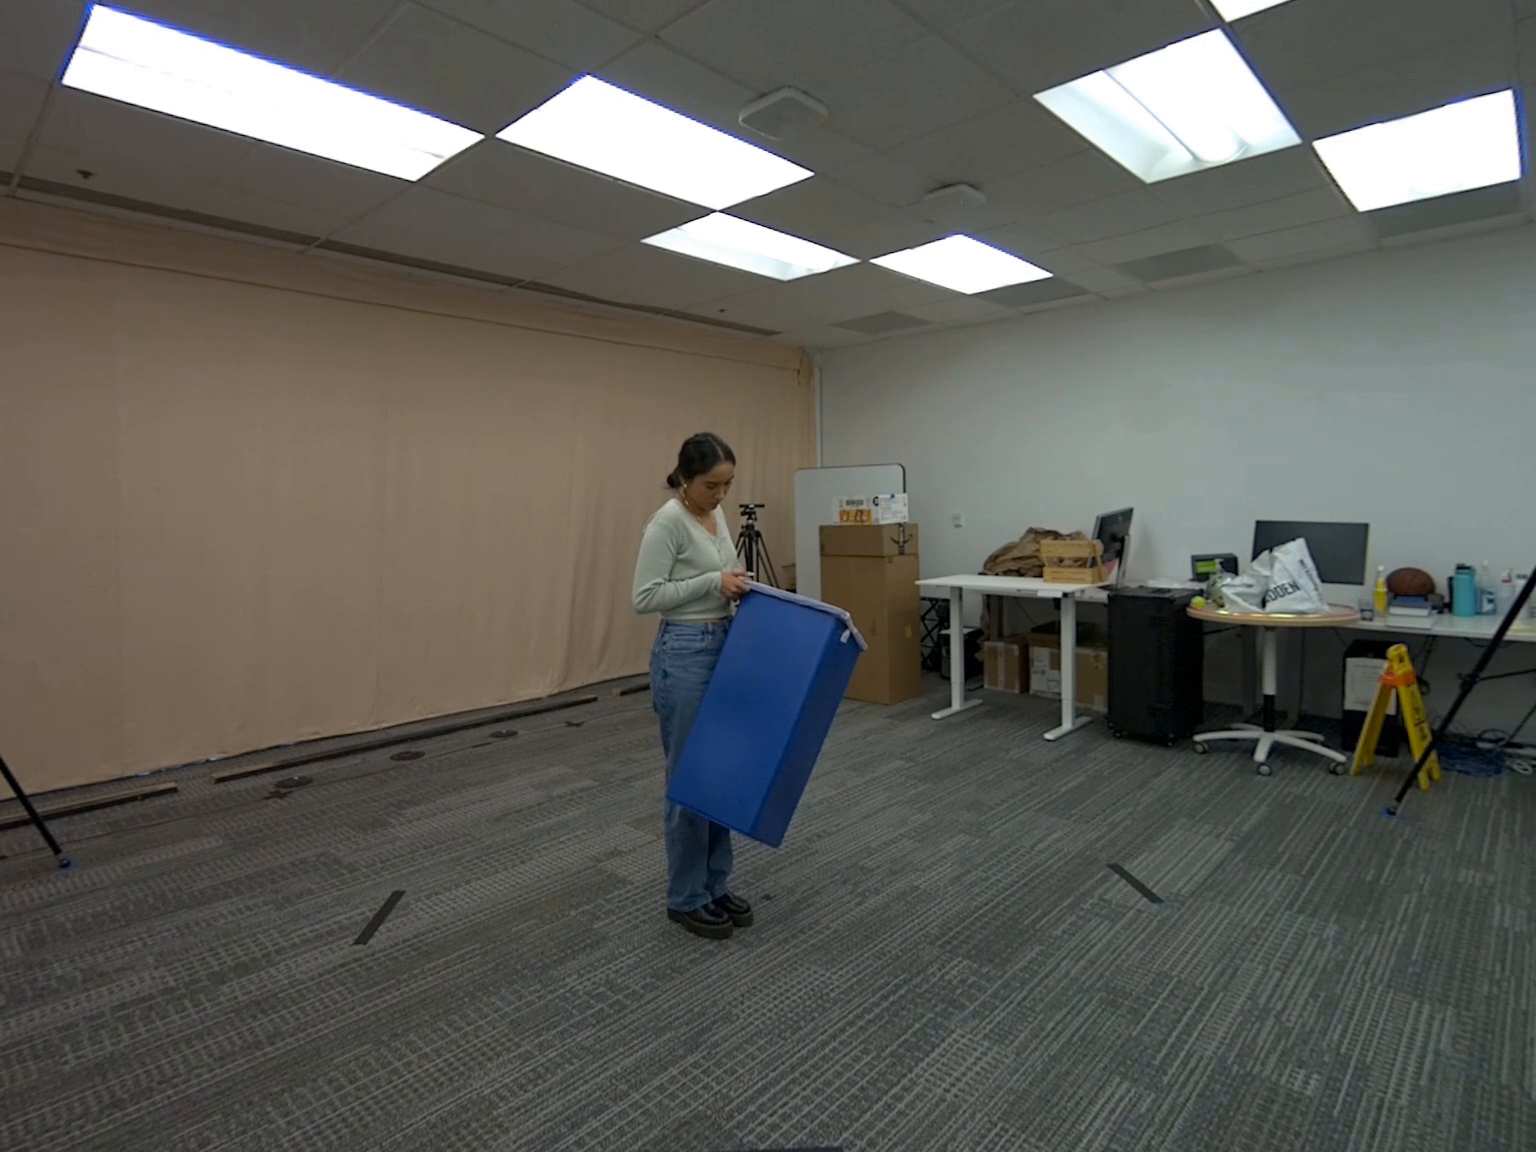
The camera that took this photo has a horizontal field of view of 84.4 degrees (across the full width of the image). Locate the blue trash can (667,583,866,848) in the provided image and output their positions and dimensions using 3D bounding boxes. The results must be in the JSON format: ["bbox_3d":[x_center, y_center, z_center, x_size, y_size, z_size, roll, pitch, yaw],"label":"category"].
[{"bbox_3d":[0.001,0.440,2.664,0.385,0.715,0.366,15,-18,26],"label":"blue trash can"}]
